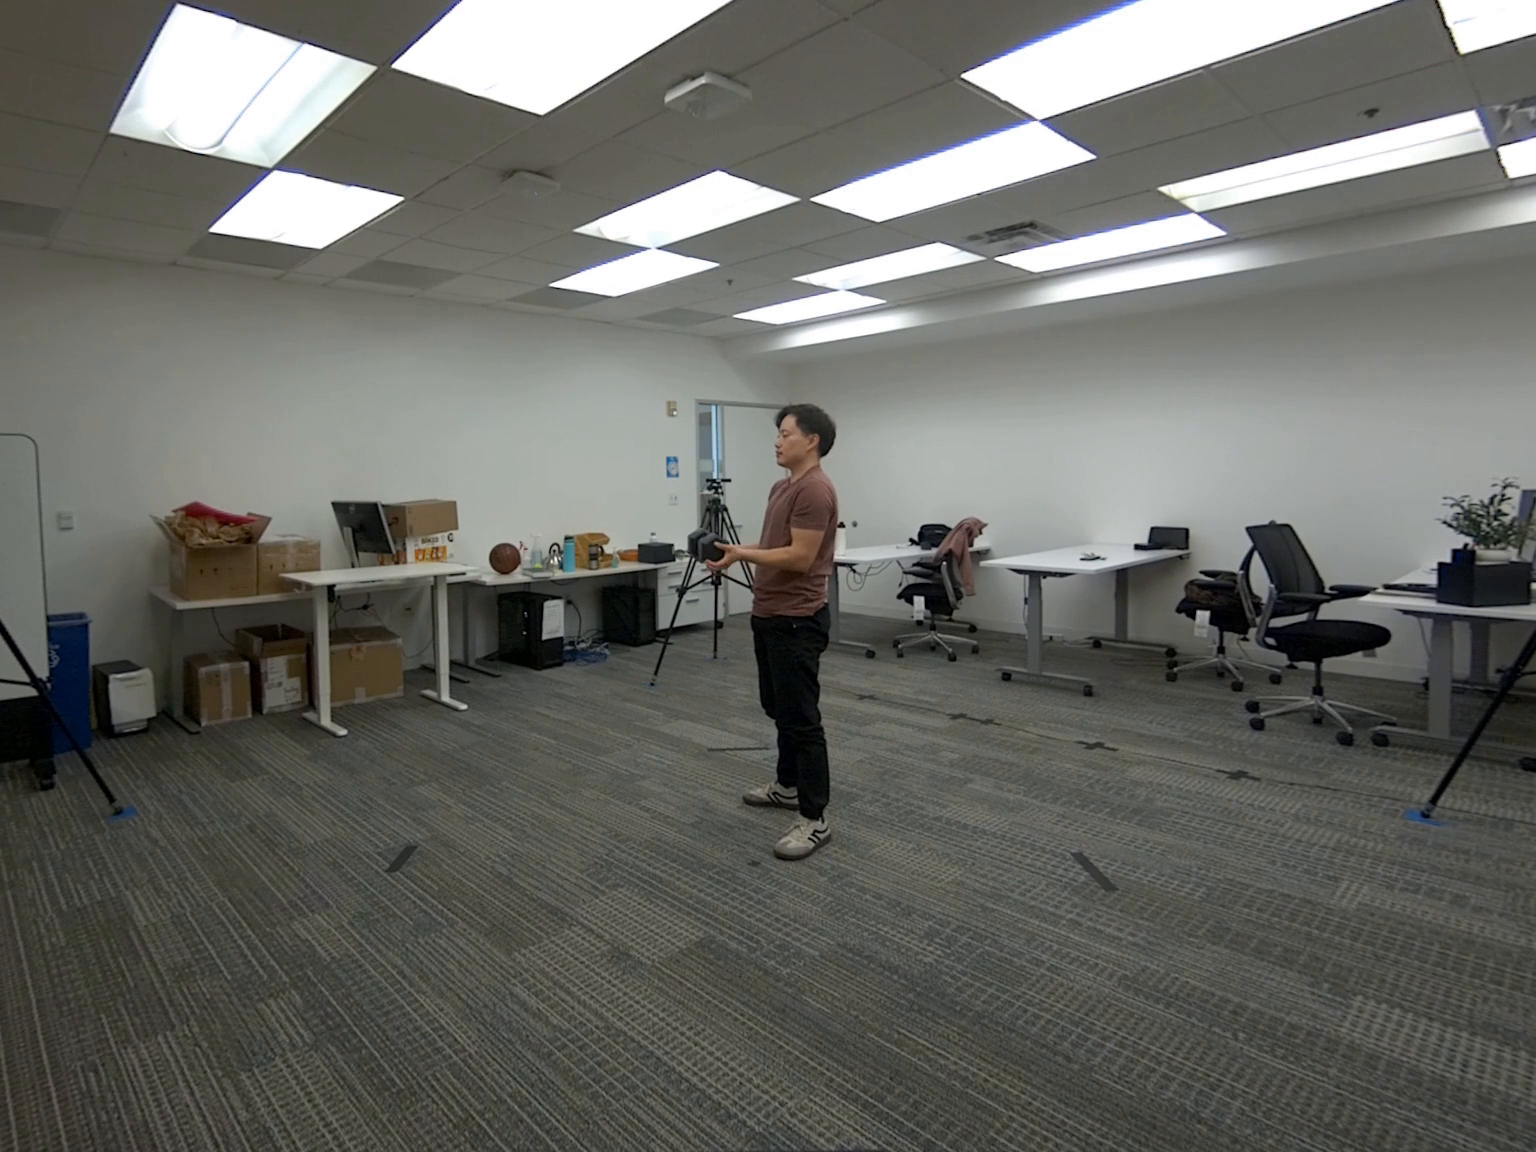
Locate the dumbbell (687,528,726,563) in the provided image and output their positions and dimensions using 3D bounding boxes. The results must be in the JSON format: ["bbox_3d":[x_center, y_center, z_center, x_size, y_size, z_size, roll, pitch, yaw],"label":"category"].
[{"bbox_3d":[-0.227,-0.116,3.324,0.122,0.107,0.299,-33,14,-9],"label":"dumbbell"}]
